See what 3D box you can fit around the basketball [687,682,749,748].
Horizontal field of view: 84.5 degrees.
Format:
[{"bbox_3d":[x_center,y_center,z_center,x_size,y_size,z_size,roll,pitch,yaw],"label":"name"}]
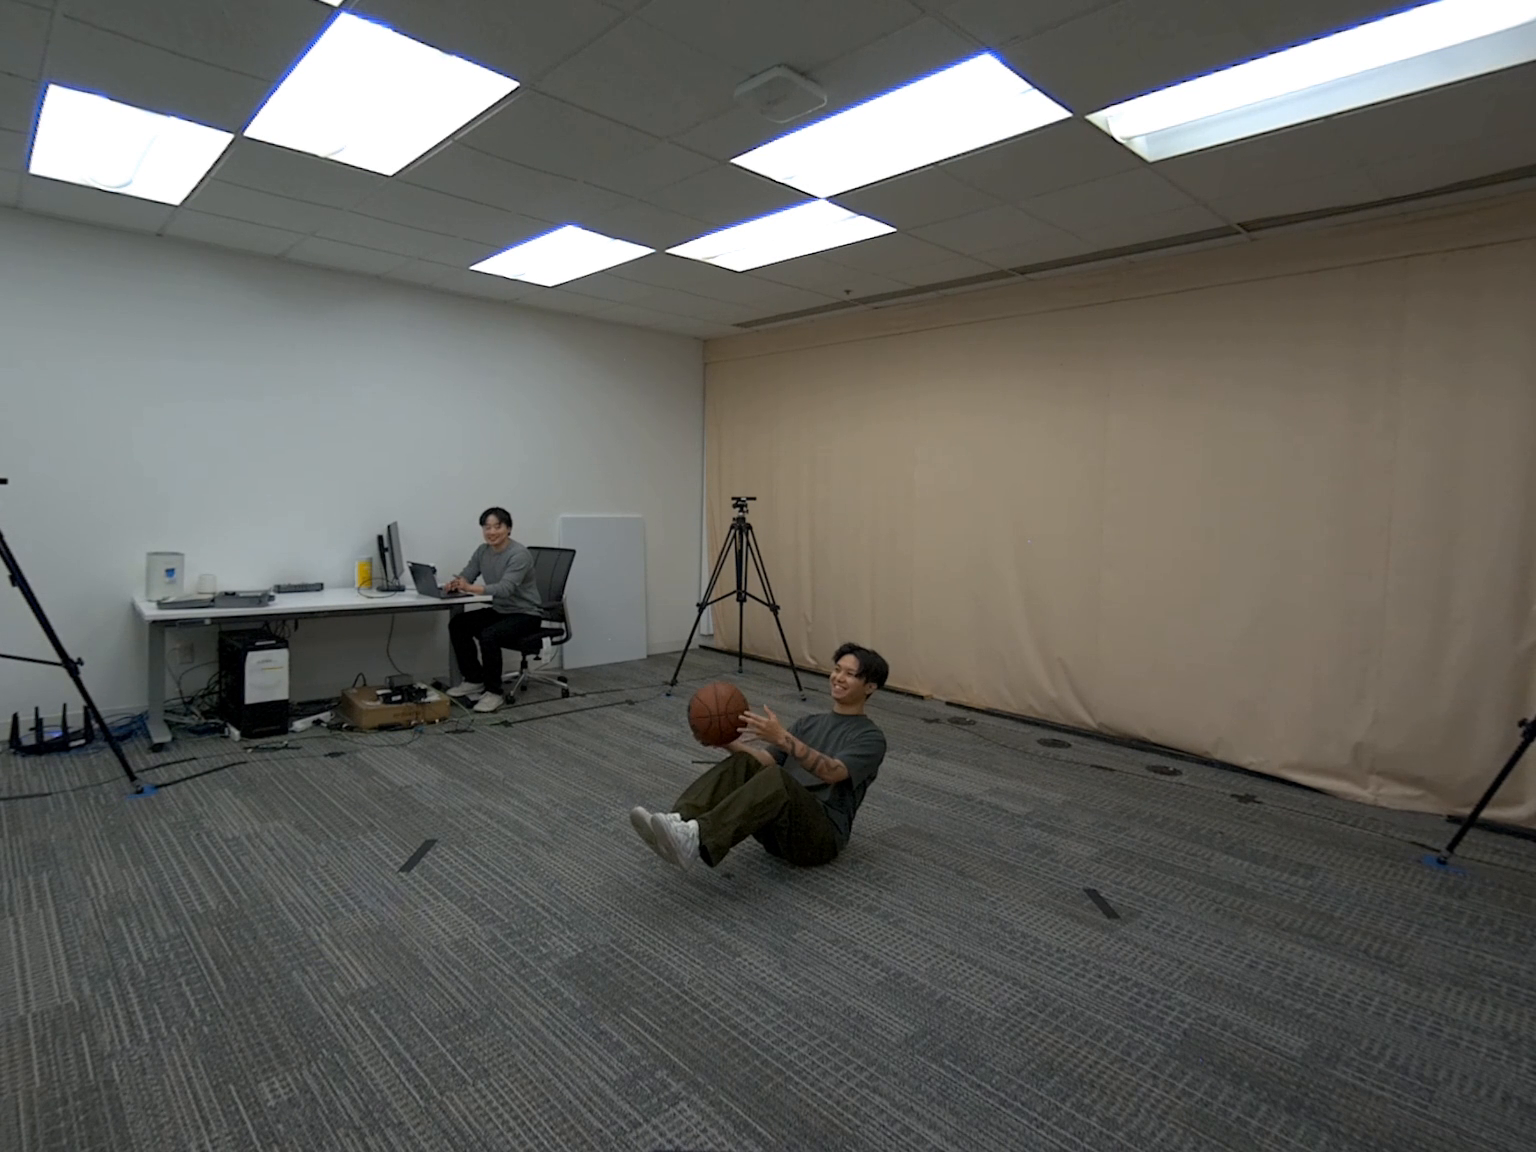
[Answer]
[{"bbox_3d":[-0.195,0.536,3.218,0.236,0.235,0.237,1,4,-1],"label":"basketball"}]
